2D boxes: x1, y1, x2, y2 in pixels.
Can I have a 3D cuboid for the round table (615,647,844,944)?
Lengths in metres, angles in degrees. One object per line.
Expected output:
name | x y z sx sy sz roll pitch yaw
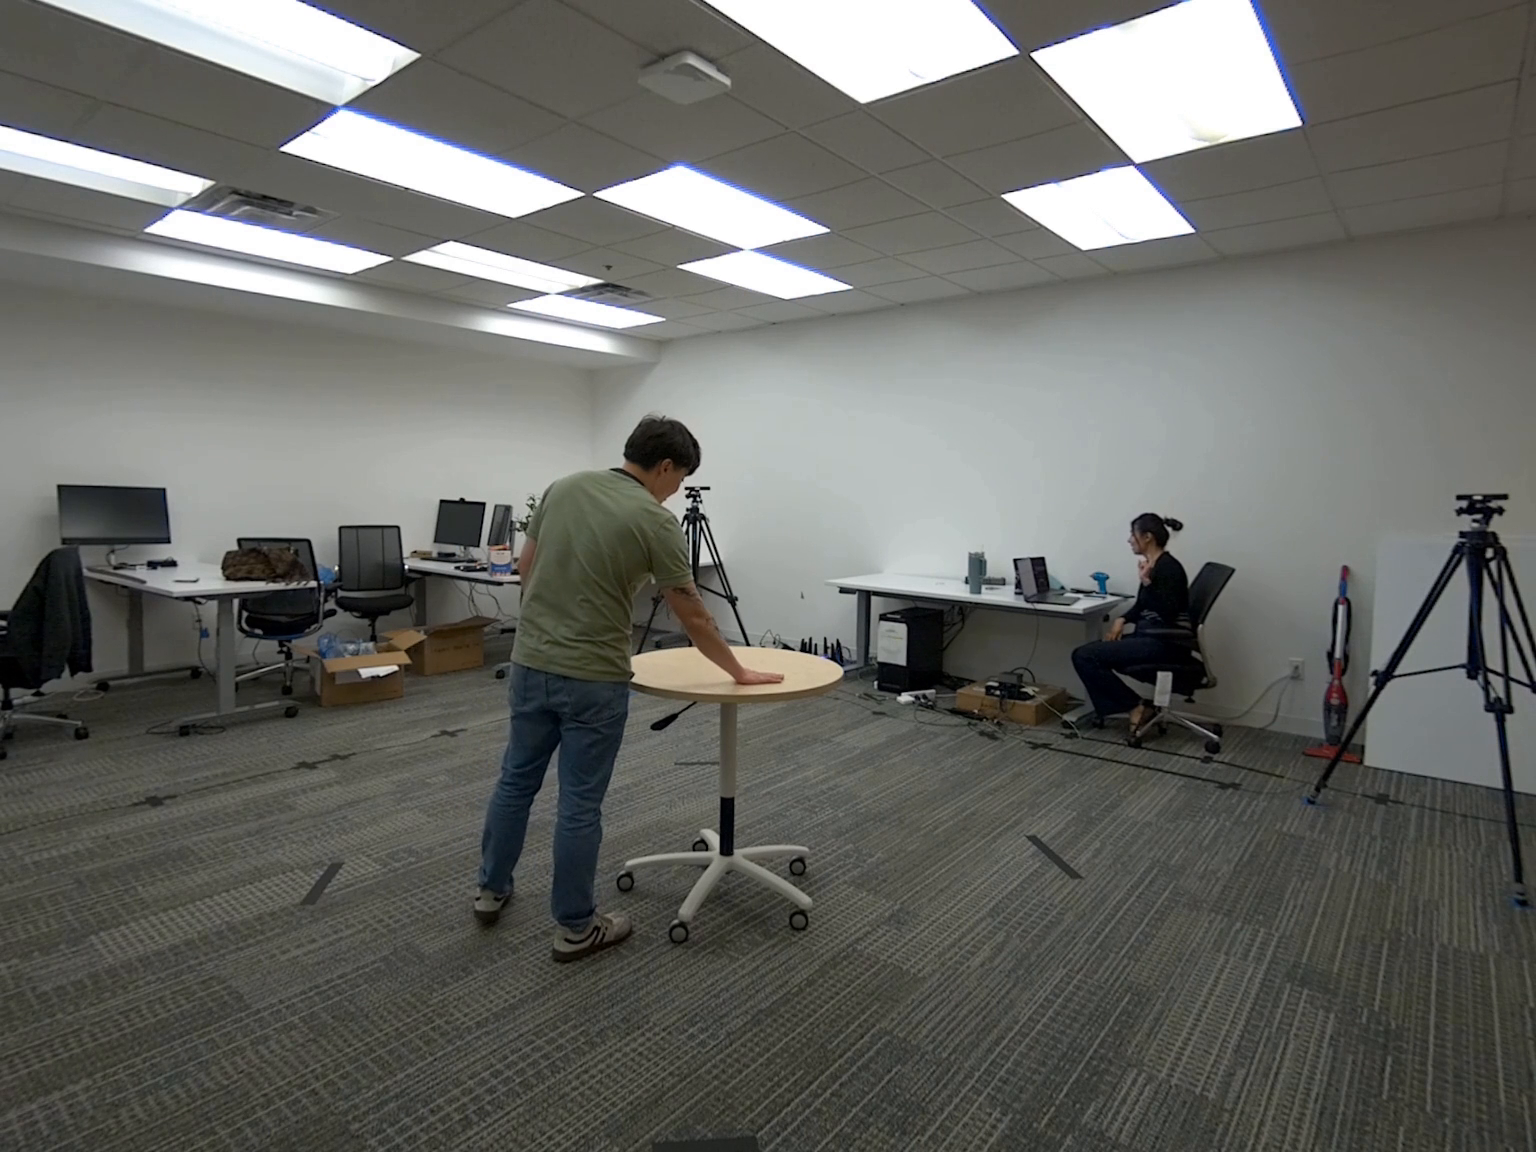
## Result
round table | -0.145 0.698 2.894 0.763 0.791 0.768 1 4 -2
